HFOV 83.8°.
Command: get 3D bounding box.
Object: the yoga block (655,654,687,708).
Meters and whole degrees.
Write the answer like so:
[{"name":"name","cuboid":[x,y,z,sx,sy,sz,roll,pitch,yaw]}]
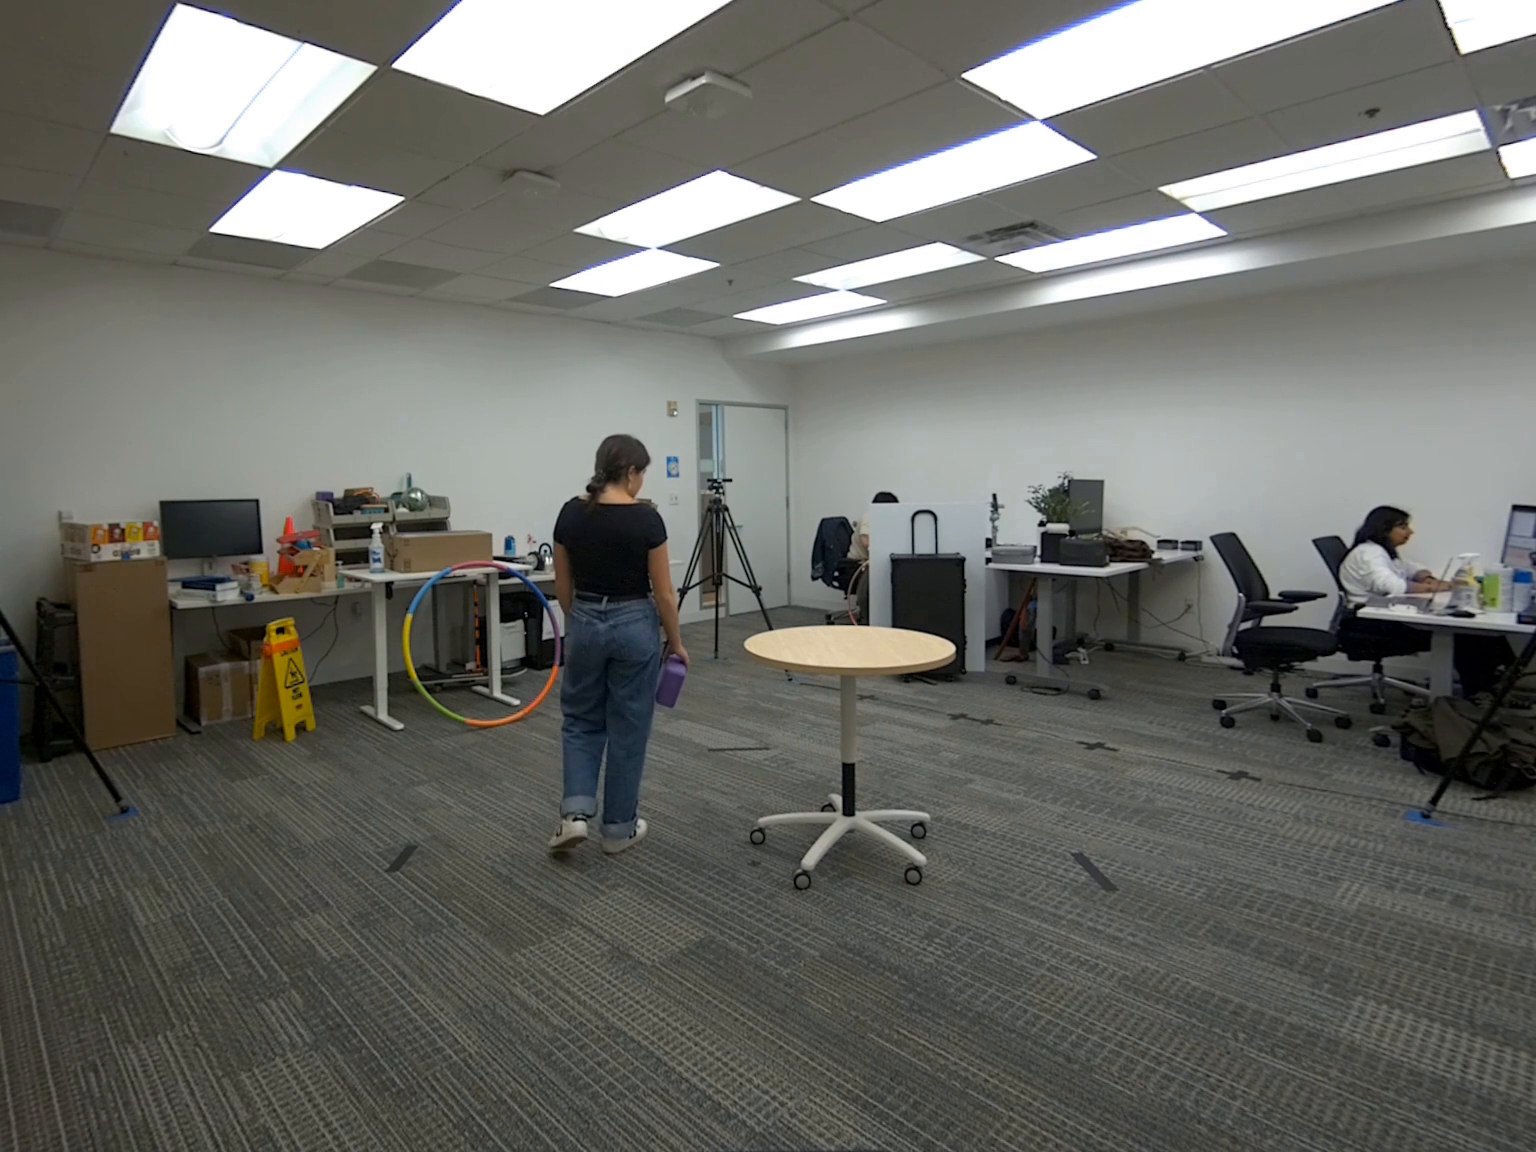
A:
[{"name":"yoga block","cuboid":[-0.371,0.388,3.307,0.076,0.148,0.232,18,8,-7]}]
